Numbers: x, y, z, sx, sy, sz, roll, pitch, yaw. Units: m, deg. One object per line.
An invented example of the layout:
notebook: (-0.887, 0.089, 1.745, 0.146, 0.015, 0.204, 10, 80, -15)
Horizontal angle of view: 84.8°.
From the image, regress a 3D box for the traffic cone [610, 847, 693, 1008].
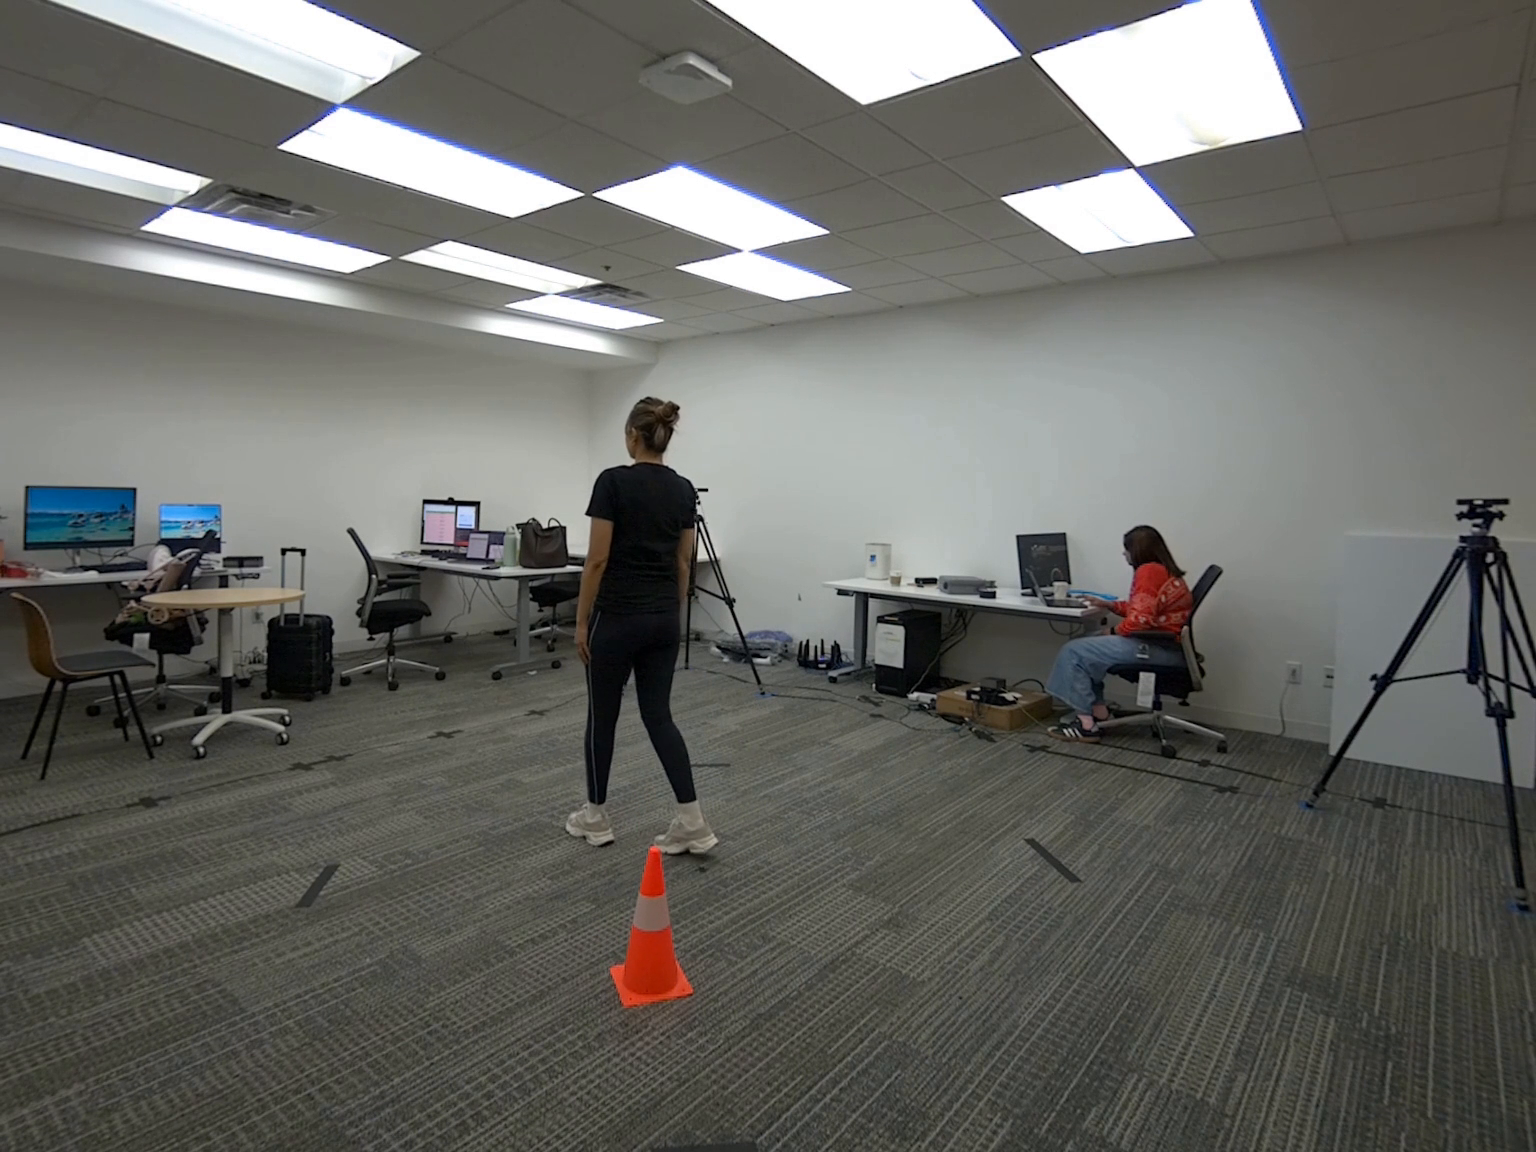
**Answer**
traffic cone: (-0.331, 0.954, 2.381, 0.198, 0.382, 0.210, -1, 4, -25)
